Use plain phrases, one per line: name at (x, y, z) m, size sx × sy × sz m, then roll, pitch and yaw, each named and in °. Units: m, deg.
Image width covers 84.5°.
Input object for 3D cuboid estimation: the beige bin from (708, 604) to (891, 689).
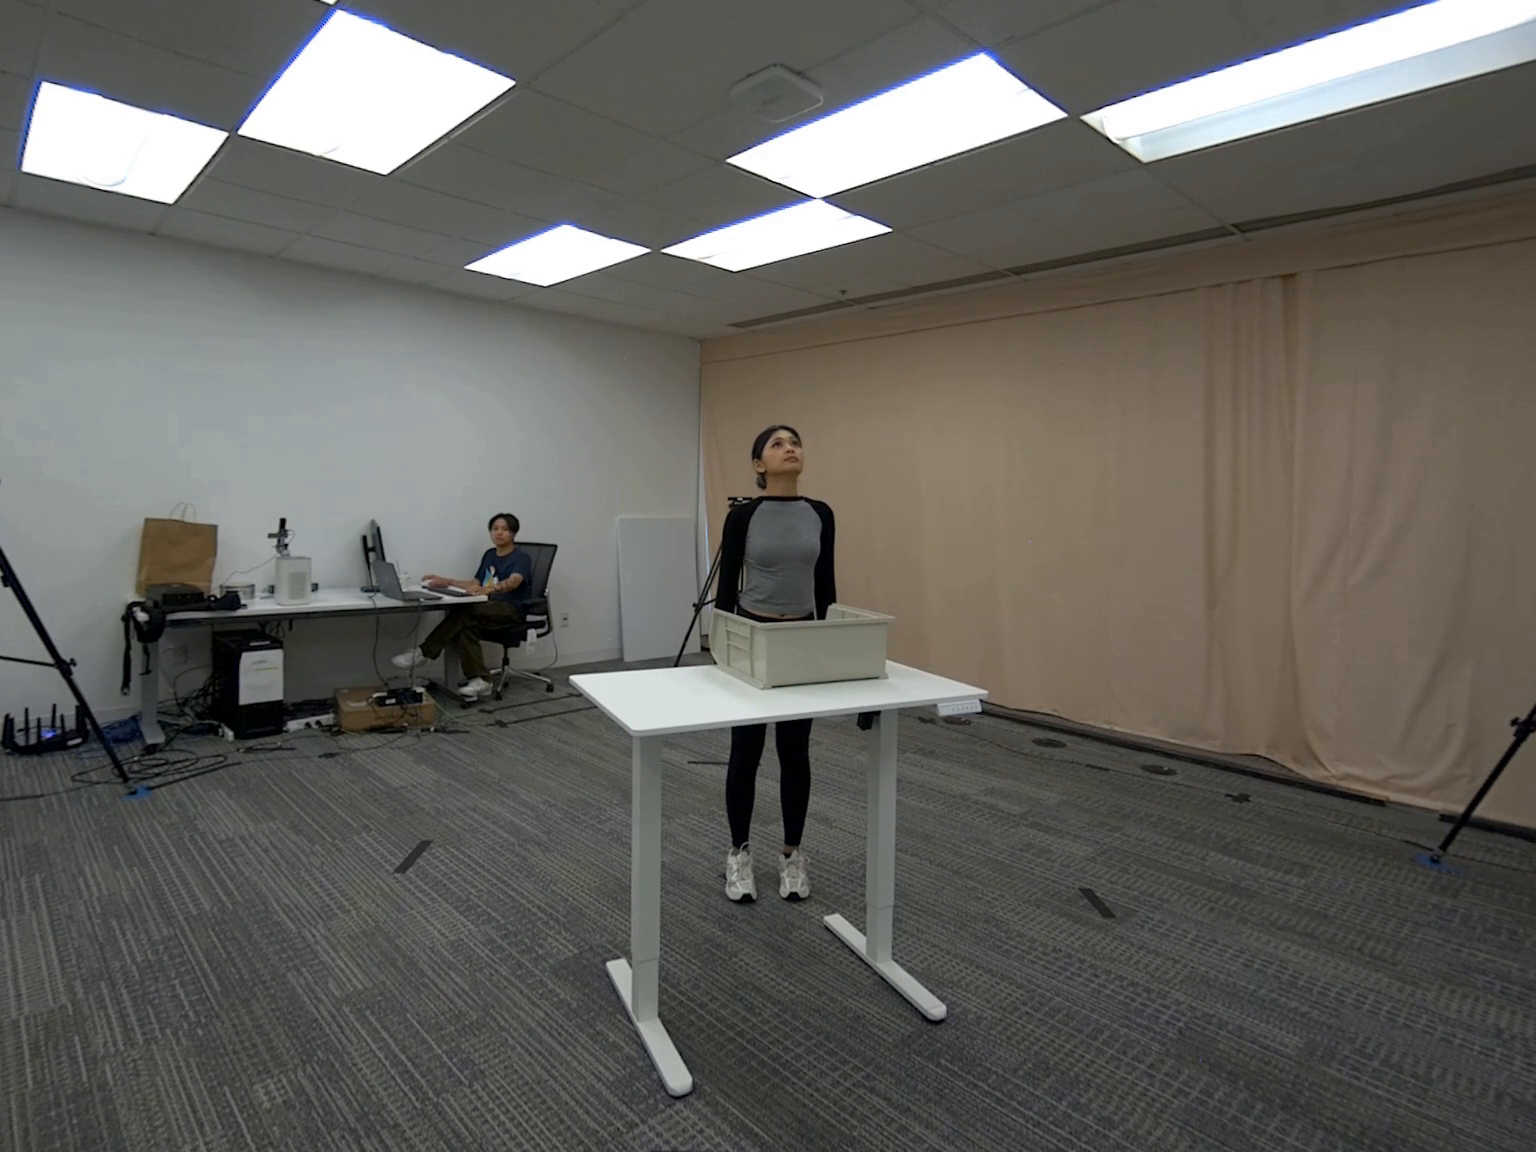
beige bin at (0.078, 0.196, 2.493) m, size 0.415 × 0.188 × 0.385 m, roll -1°, pitch 6°, yaw -25°
